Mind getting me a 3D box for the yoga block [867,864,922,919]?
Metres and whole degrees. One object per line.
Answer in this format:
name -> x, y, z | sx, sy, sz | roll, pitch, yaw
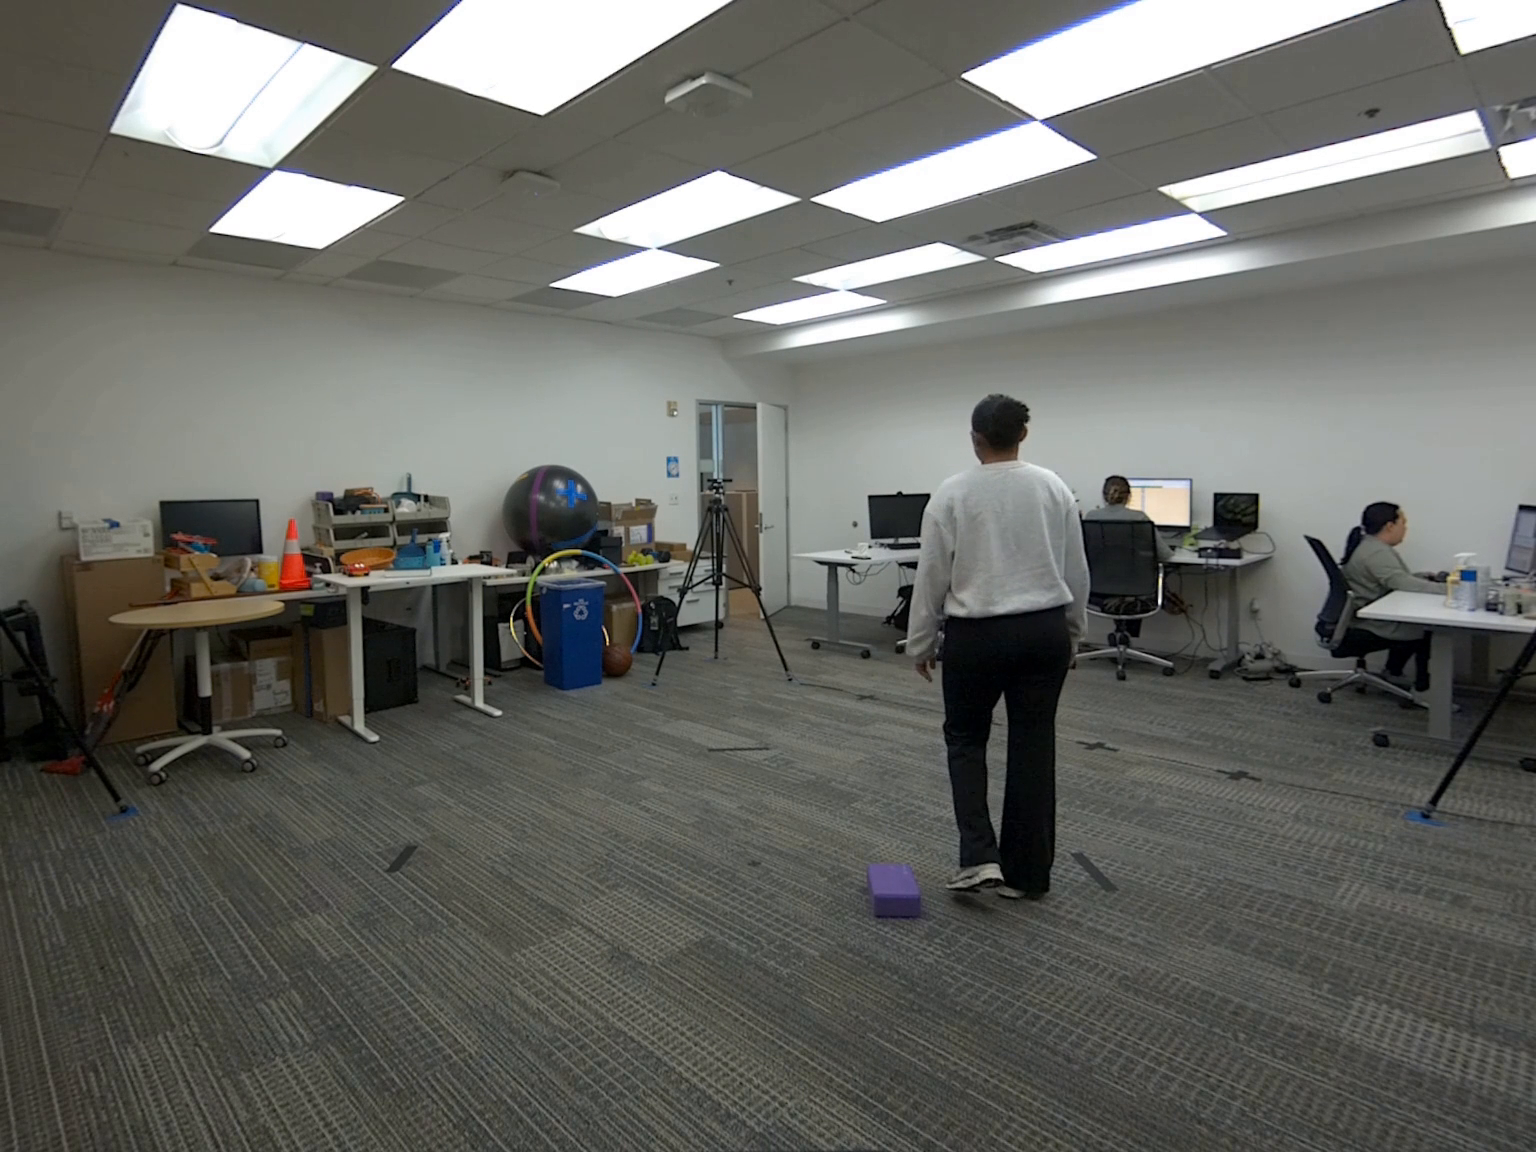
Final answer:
yoga block -> 0.418, 1.028, 2.811 | 0.149, 0.076, 0.229 | -3, 6, 2
